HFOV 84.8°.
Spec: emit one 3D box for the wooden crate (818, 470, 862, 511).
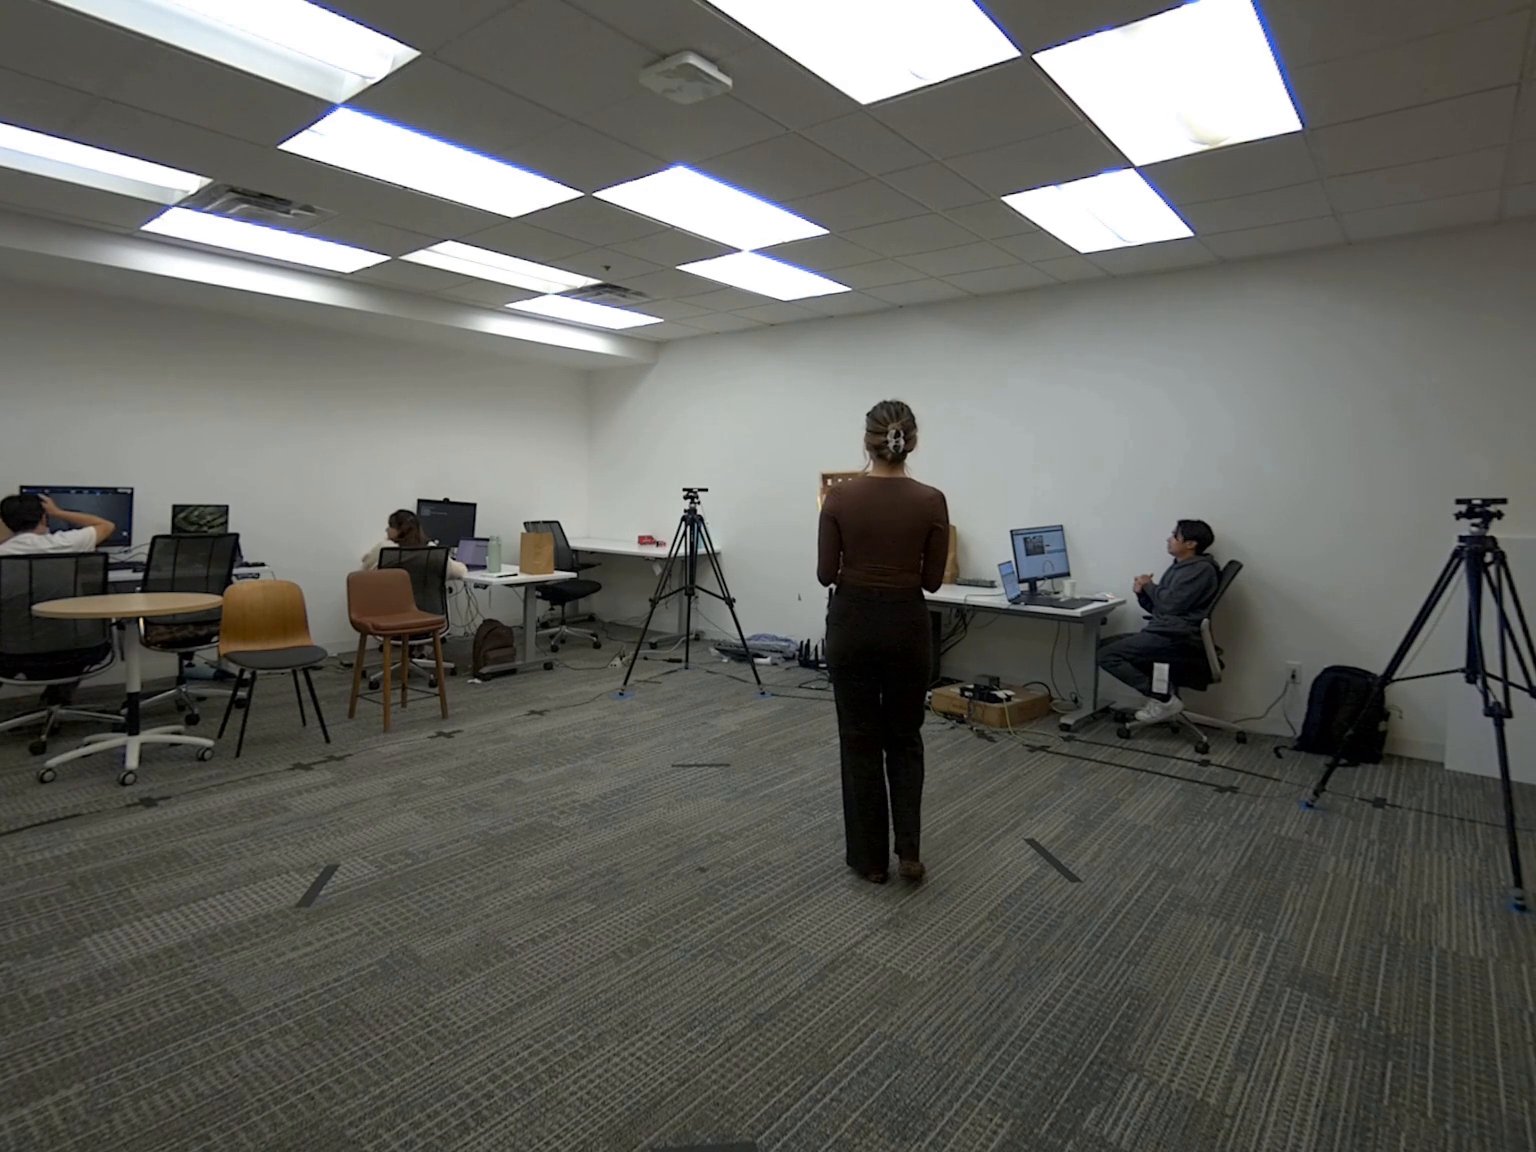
[{"bbox_3d":[0.366,-0.280,3.424,0.325,0.301,0.274,0,4,1],"label":"wooden crate"}]
